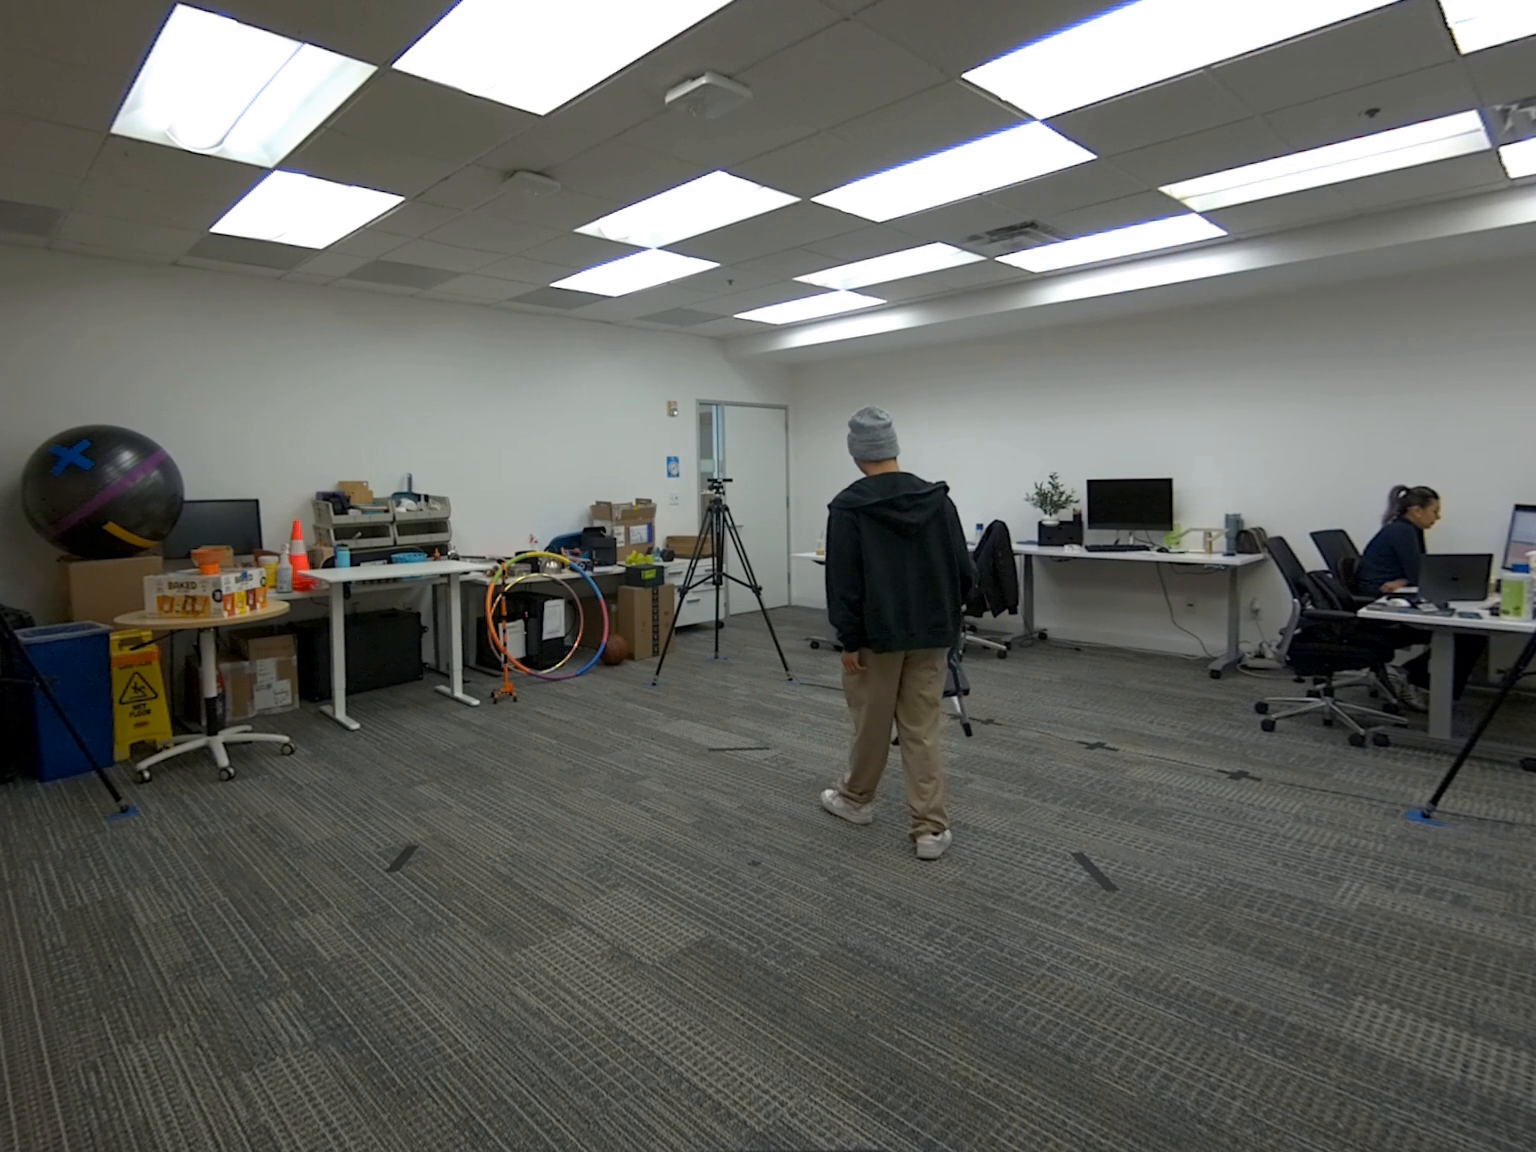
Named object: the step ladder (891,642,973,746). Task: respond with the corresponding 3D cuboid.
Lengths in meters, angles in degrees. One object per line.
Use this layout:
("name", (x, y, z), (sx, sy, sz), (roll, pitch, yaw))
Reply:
("step ladder", (0.683, 0.346, 3.672), (0.348, 0.590, 0.443), (-5, 35, -4))
